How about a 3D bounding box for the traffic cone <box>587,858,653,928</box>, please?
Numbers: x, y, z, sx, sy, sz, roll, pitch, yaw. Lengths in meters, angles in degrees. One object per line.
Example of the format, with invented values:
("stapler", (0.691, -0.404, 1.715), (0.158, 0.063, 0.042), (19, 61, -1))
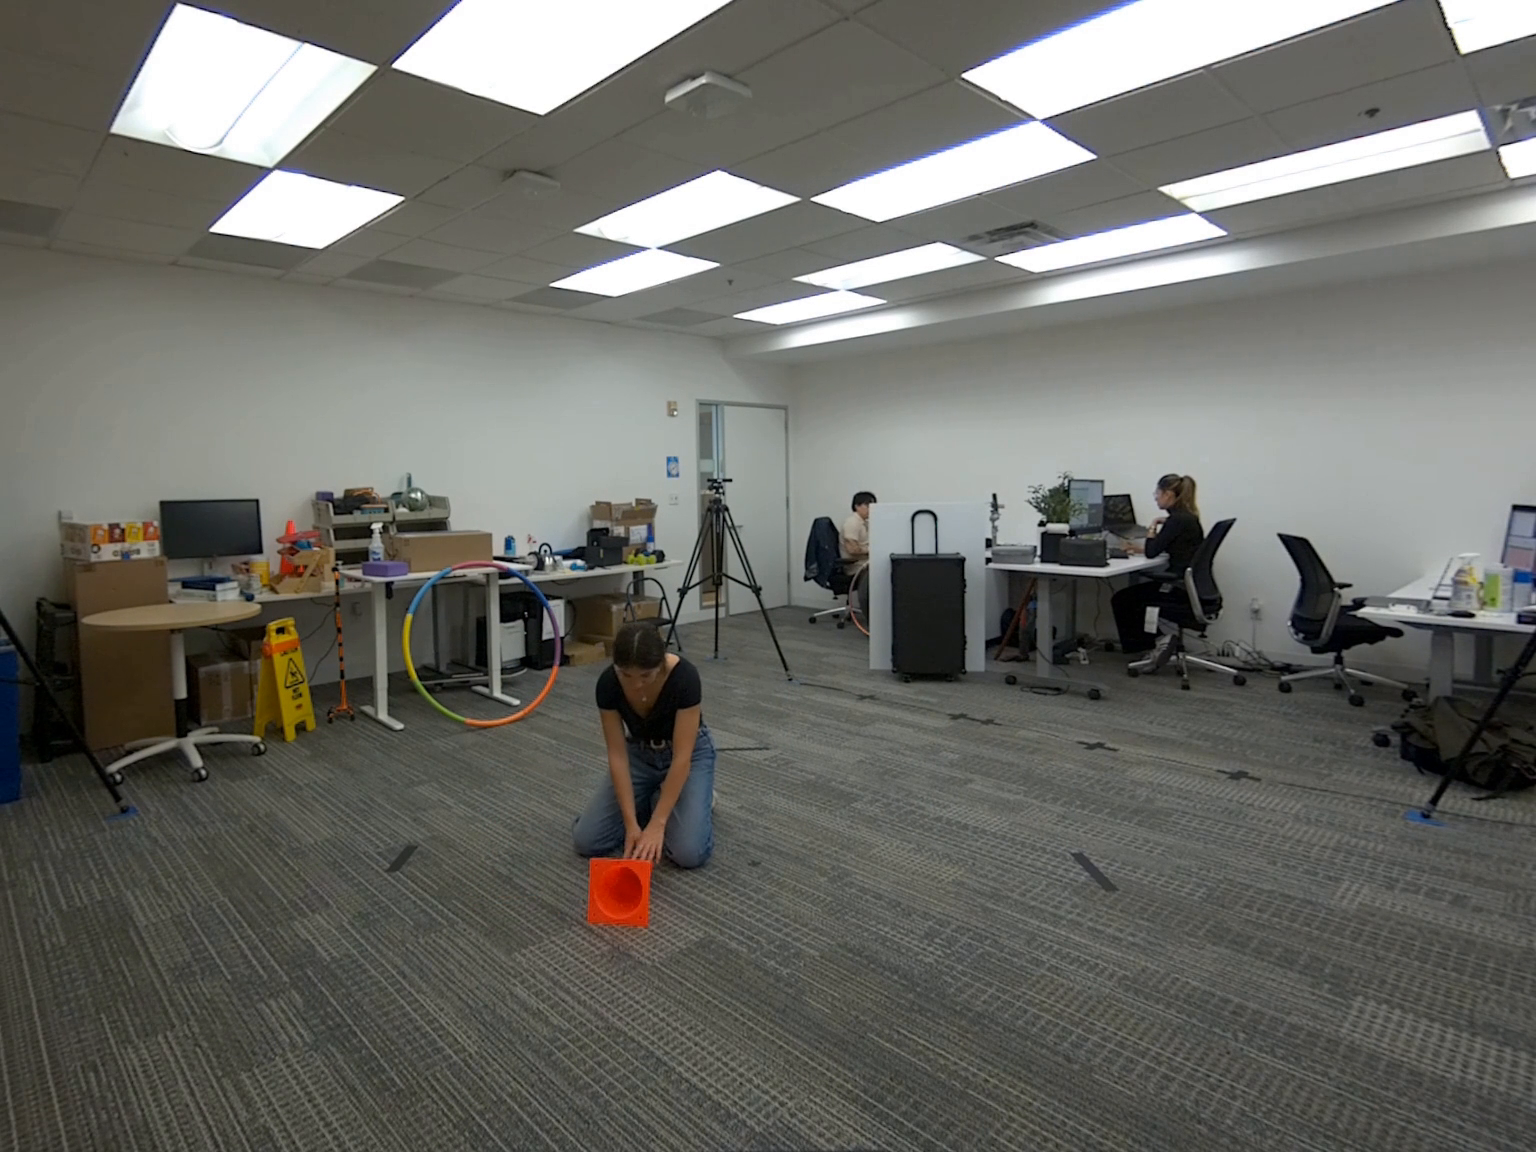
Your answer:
("traffic cone", (-0.462, 1.030, 2.903), (0.206, 0.204, 0.380), (5, -2, 5))
